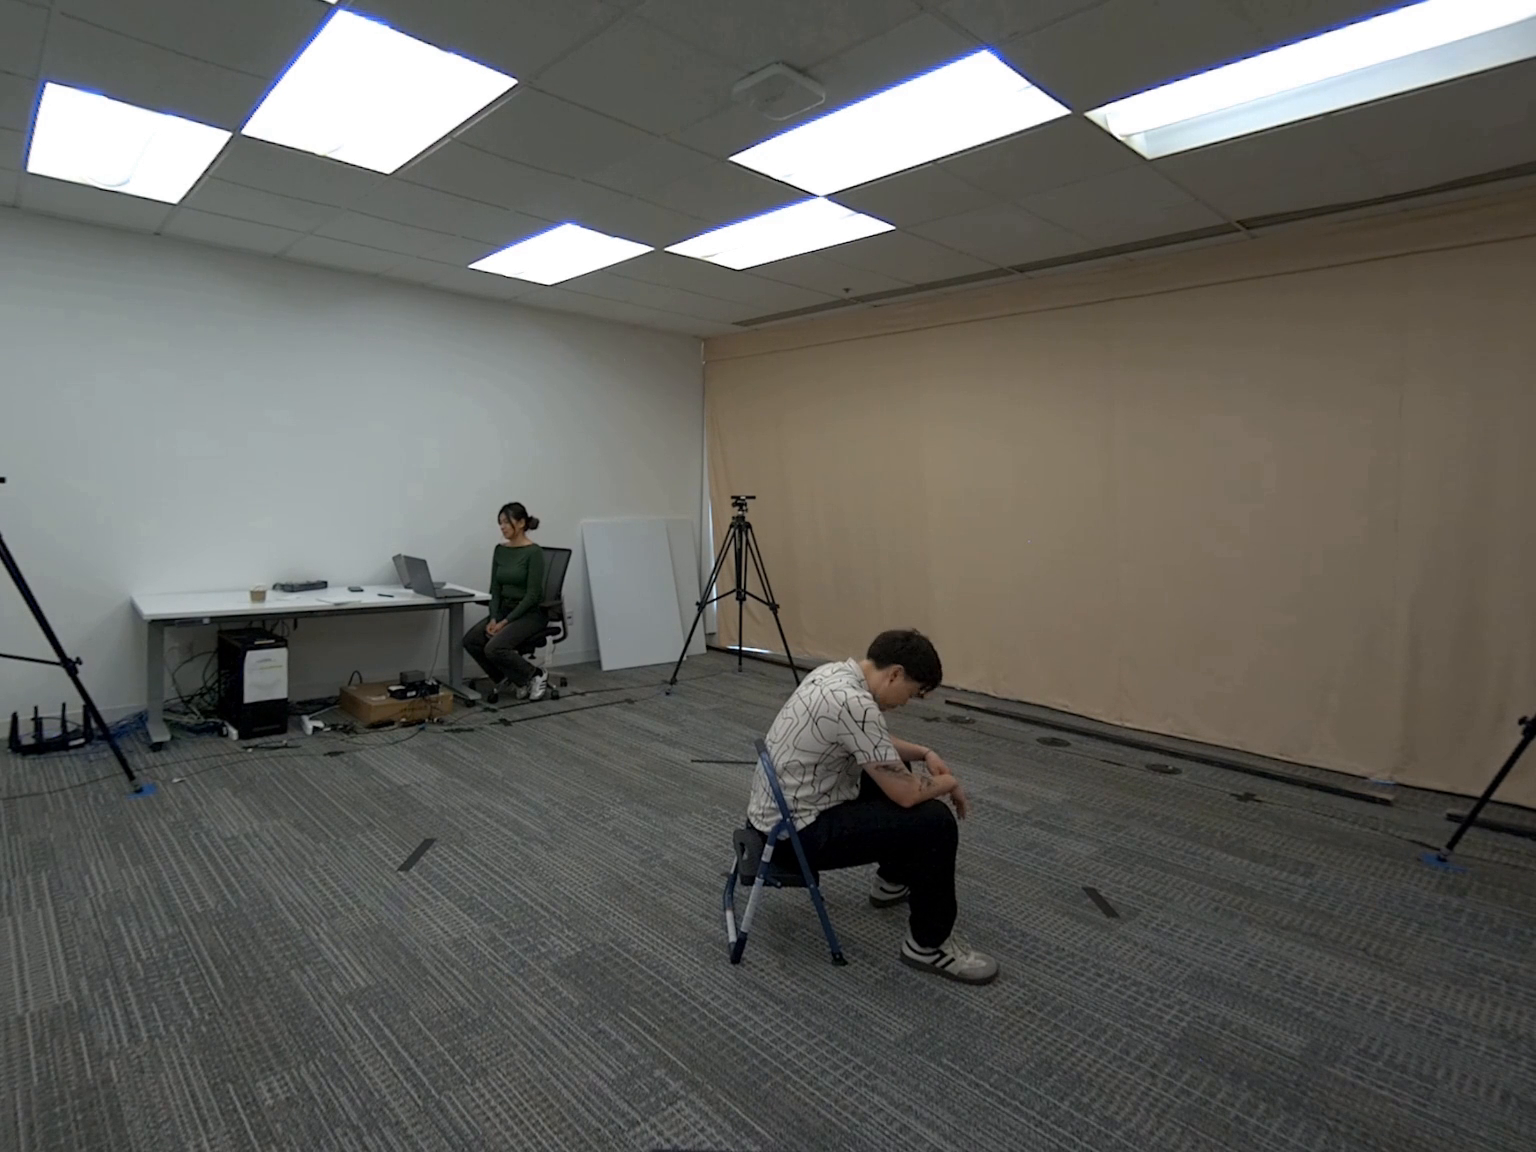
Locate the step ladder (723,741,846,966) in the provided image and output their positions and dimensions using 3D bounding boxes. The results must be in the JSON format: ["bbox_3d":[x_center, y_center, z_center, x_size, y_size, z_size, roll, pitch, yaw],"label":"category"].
[{"bbox_3d":[0.040,0.845,2.700,0.348,0.604,0.434,1,4,-6],"label":"step ladder"}]
